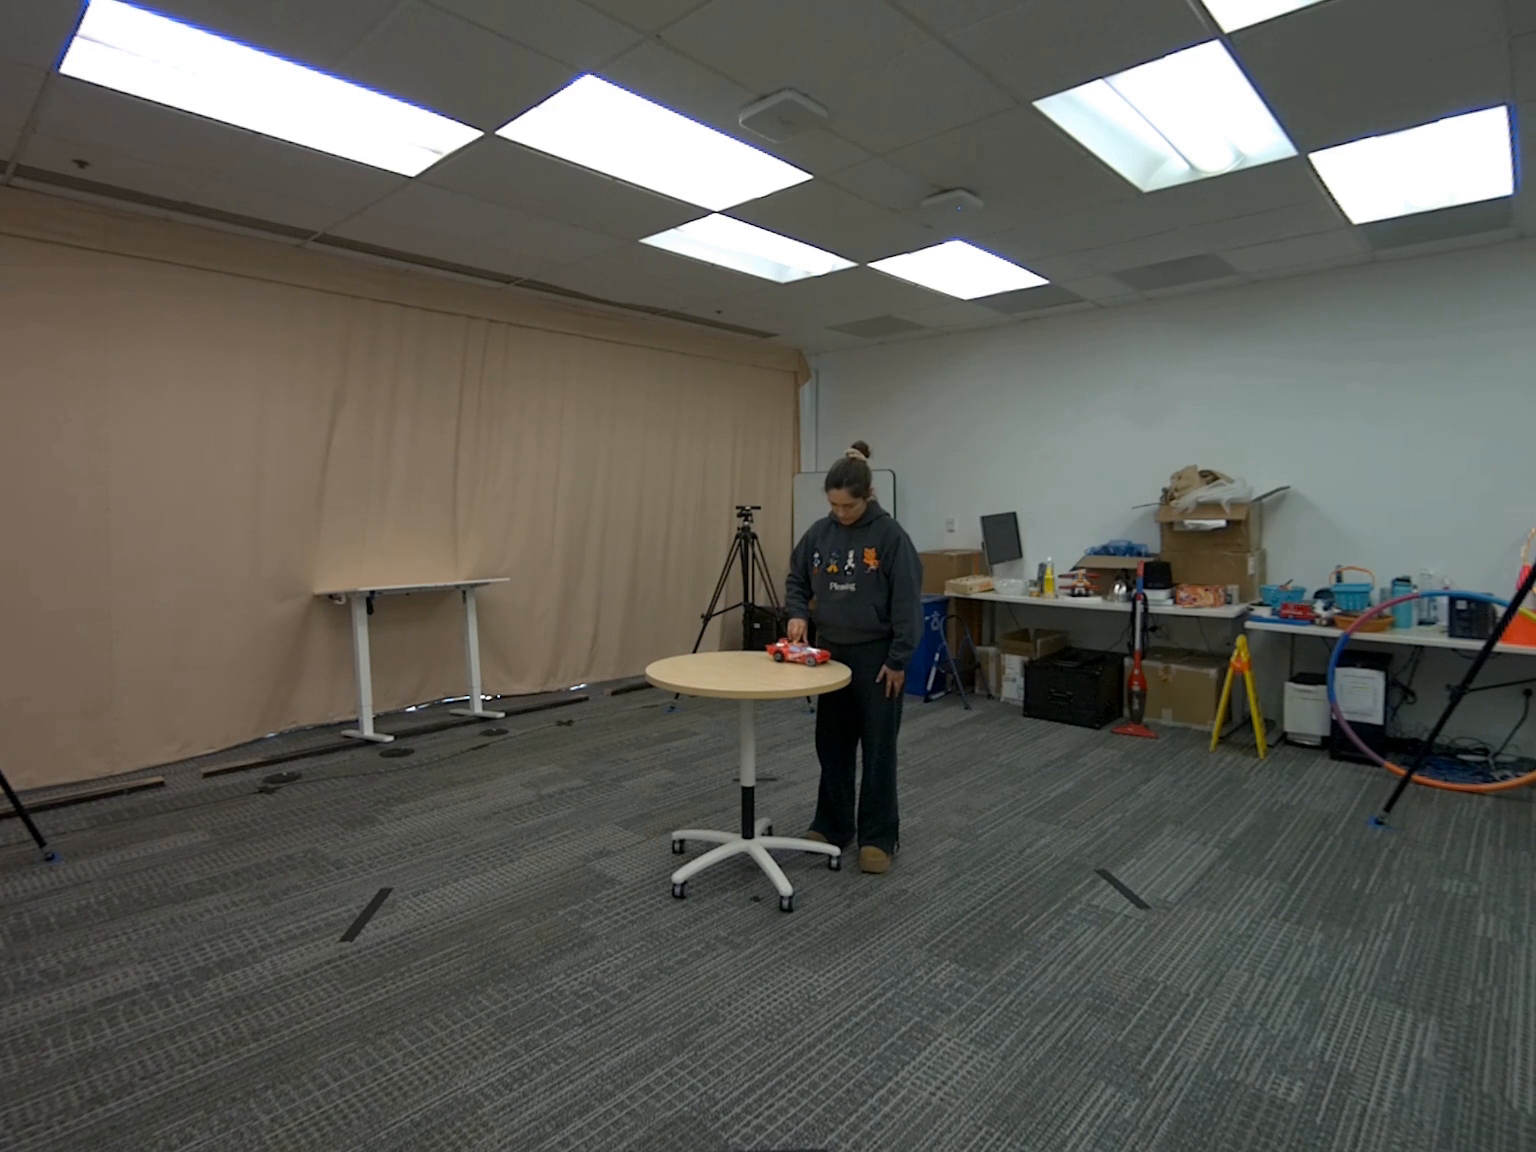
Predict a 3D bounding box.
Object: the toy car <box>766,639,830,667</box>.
[{"bbox_3d":[0.129,0.302,3.286,0.263,0.083,0.126,16,12,34],"label":"toy car"}]
